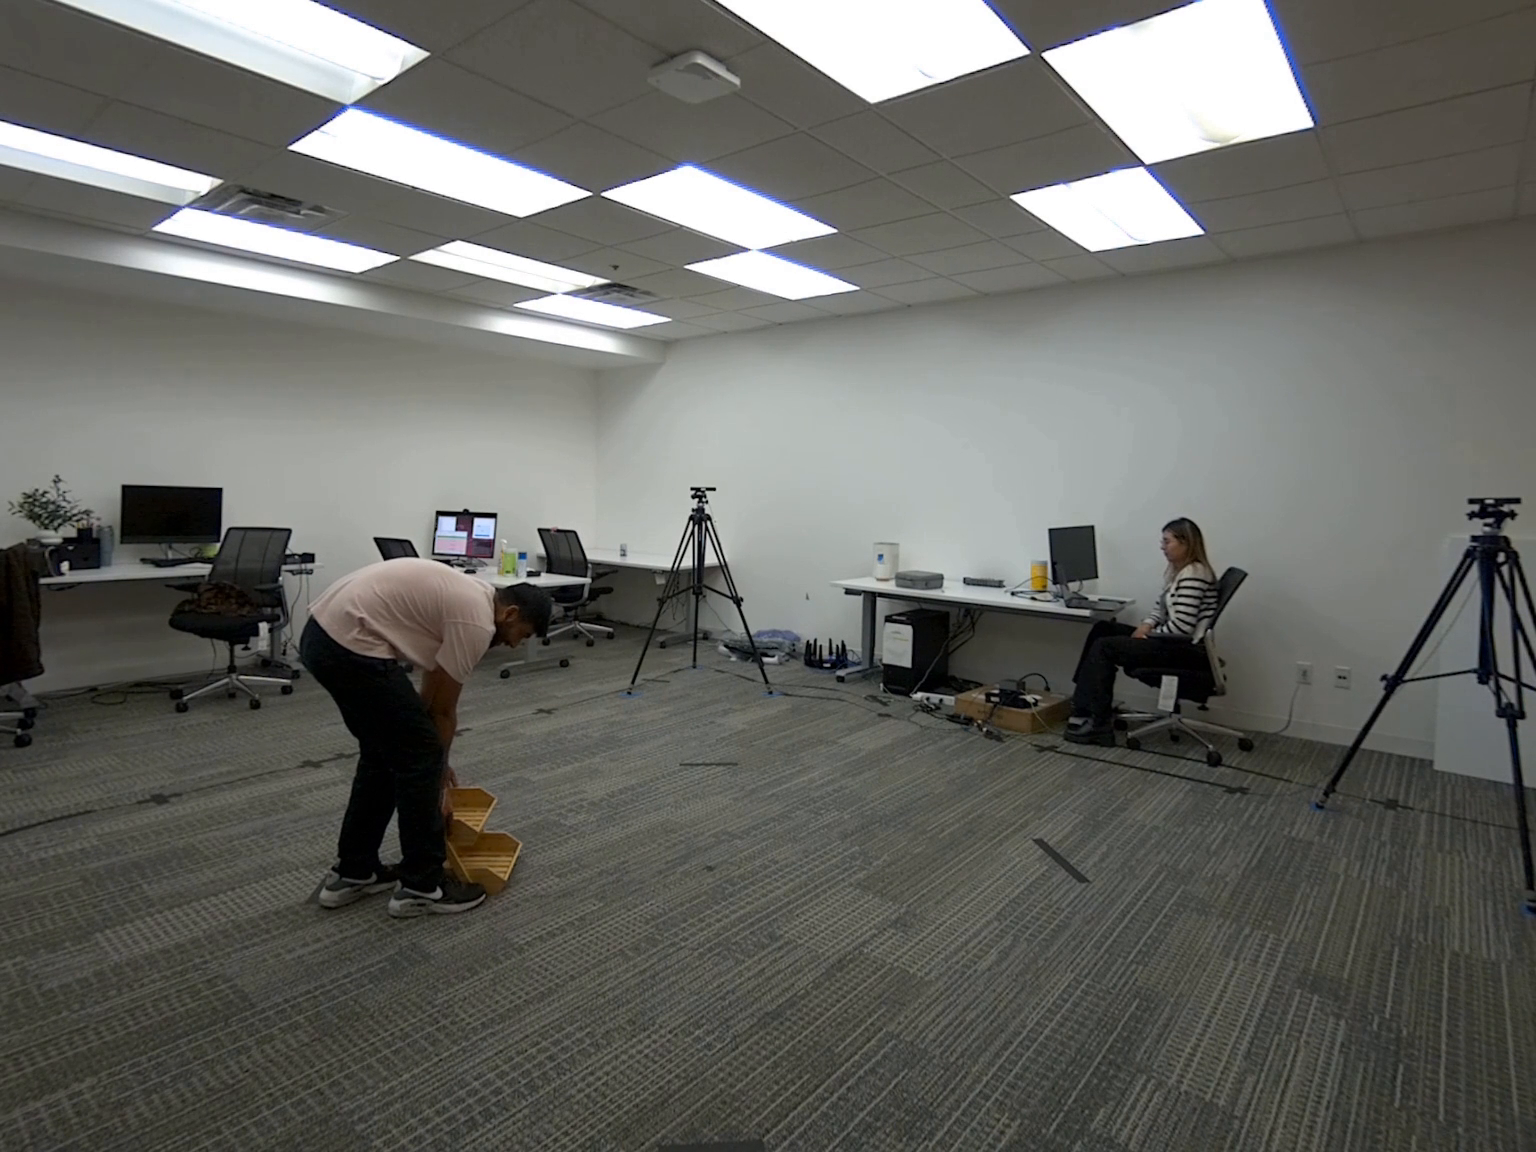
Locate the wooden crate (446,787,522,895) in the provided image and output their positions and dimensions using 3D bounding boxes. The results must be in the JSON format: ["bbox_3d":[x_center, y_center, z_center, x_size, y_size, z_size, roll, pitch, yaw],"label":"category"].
[{"bbox_3d":[-1.056,0.929,3.021,0.300,0.272,0.328,-1,5,-6],"label":"wooden crate"}]
